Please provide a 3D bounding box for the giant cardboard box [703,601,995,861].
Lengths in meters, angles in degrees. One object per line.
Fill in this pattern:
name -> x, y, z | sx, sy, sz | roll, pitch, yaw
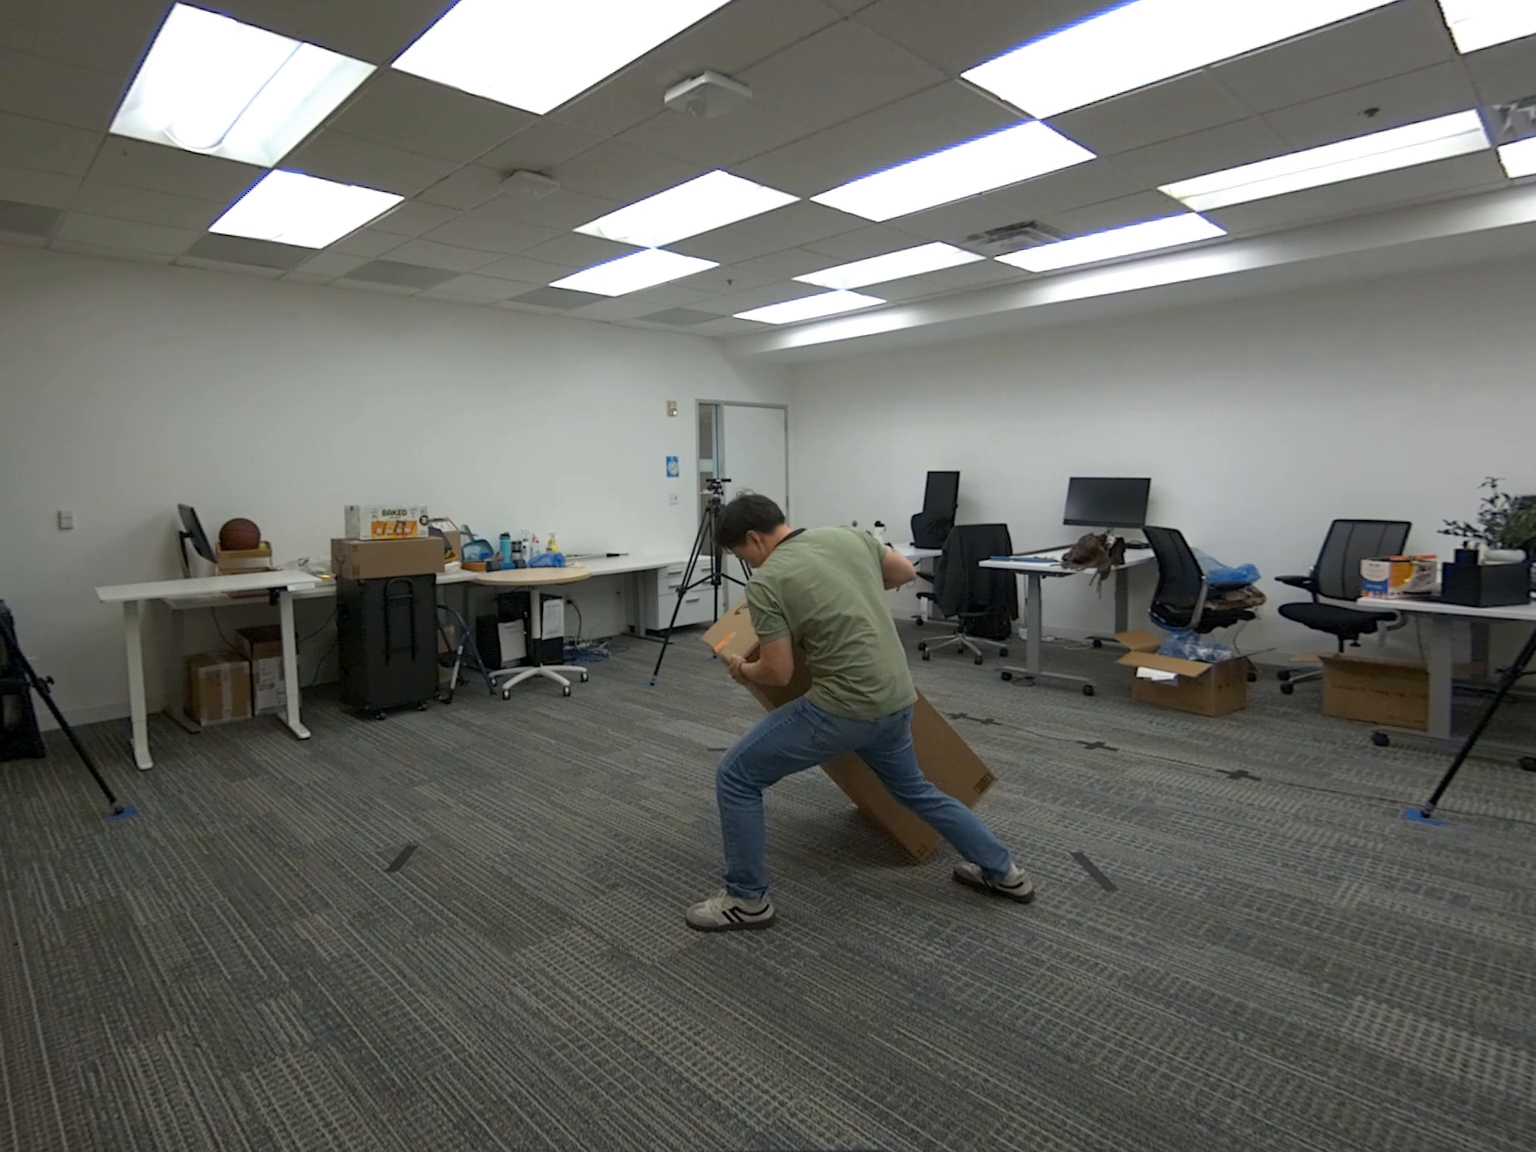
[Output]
giant cardboard box -> 0.288, 0.498, 3.280 | 0.426, 1.011, 0.586 | -43, 11, -8
